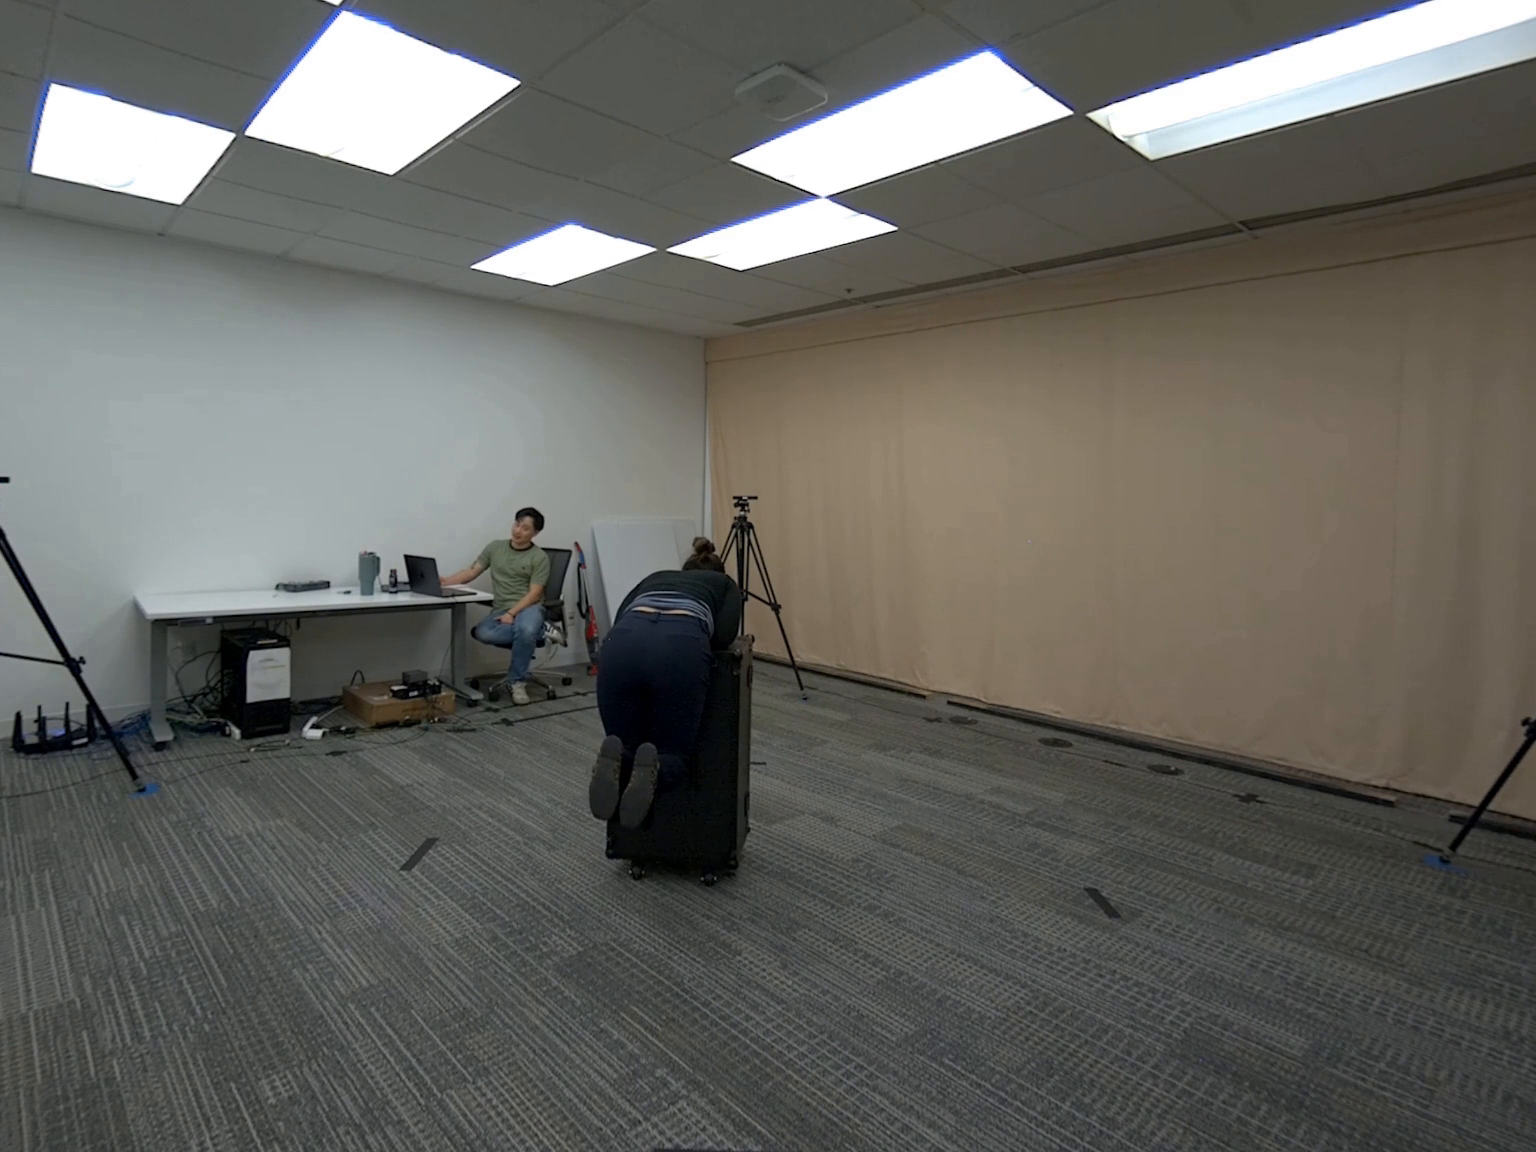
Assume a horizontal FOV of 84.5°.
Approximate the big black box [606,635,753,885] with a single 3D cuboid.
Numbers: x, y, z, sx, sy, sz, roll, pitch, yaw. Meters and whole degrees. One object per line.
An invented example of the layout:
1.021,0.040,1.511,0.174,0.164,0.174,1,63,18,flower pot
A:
-0.325,0.677,3.154,0.525,0.858,0.395,2,5,7,big black box
